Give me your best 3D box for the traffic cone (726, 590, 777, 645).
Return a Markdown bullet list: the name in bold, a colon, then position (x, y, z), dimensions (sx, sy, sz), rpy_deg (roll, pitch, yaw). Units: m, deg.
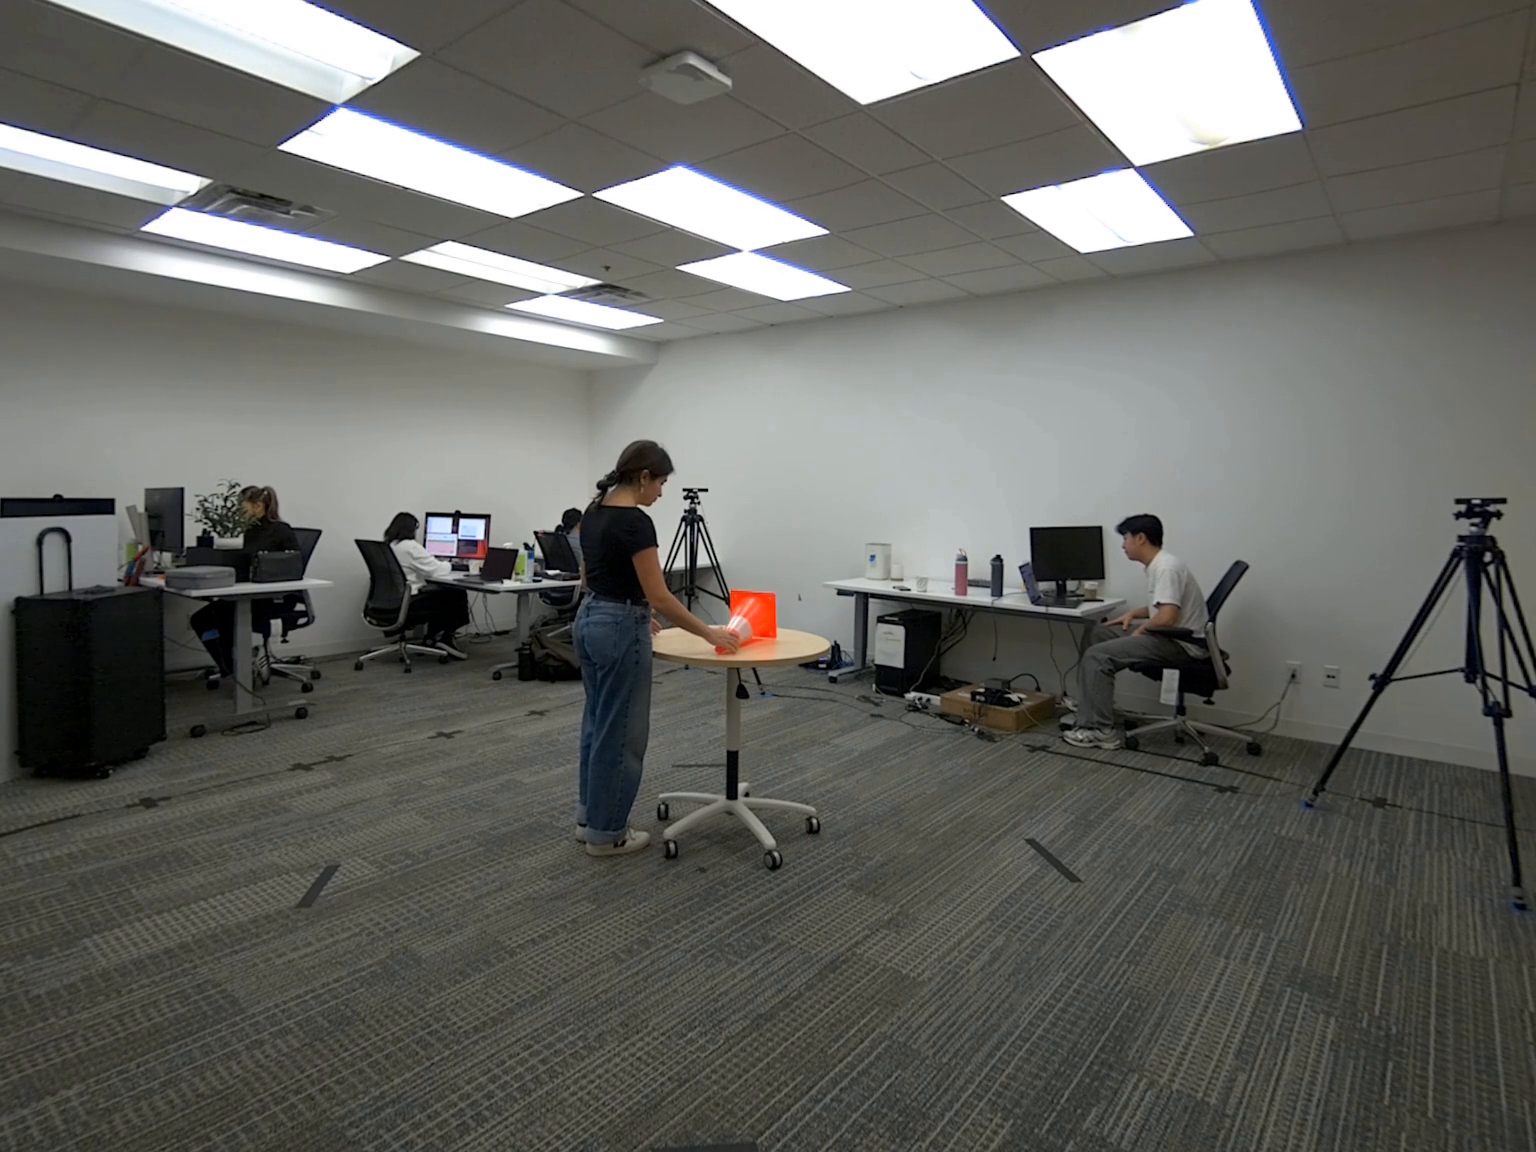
- **traffic cone**: position (-0.127, 0.211, 3.305), dimensions (0.208, 0.201, 0.382), rpy_deg (3, 21, 20)
